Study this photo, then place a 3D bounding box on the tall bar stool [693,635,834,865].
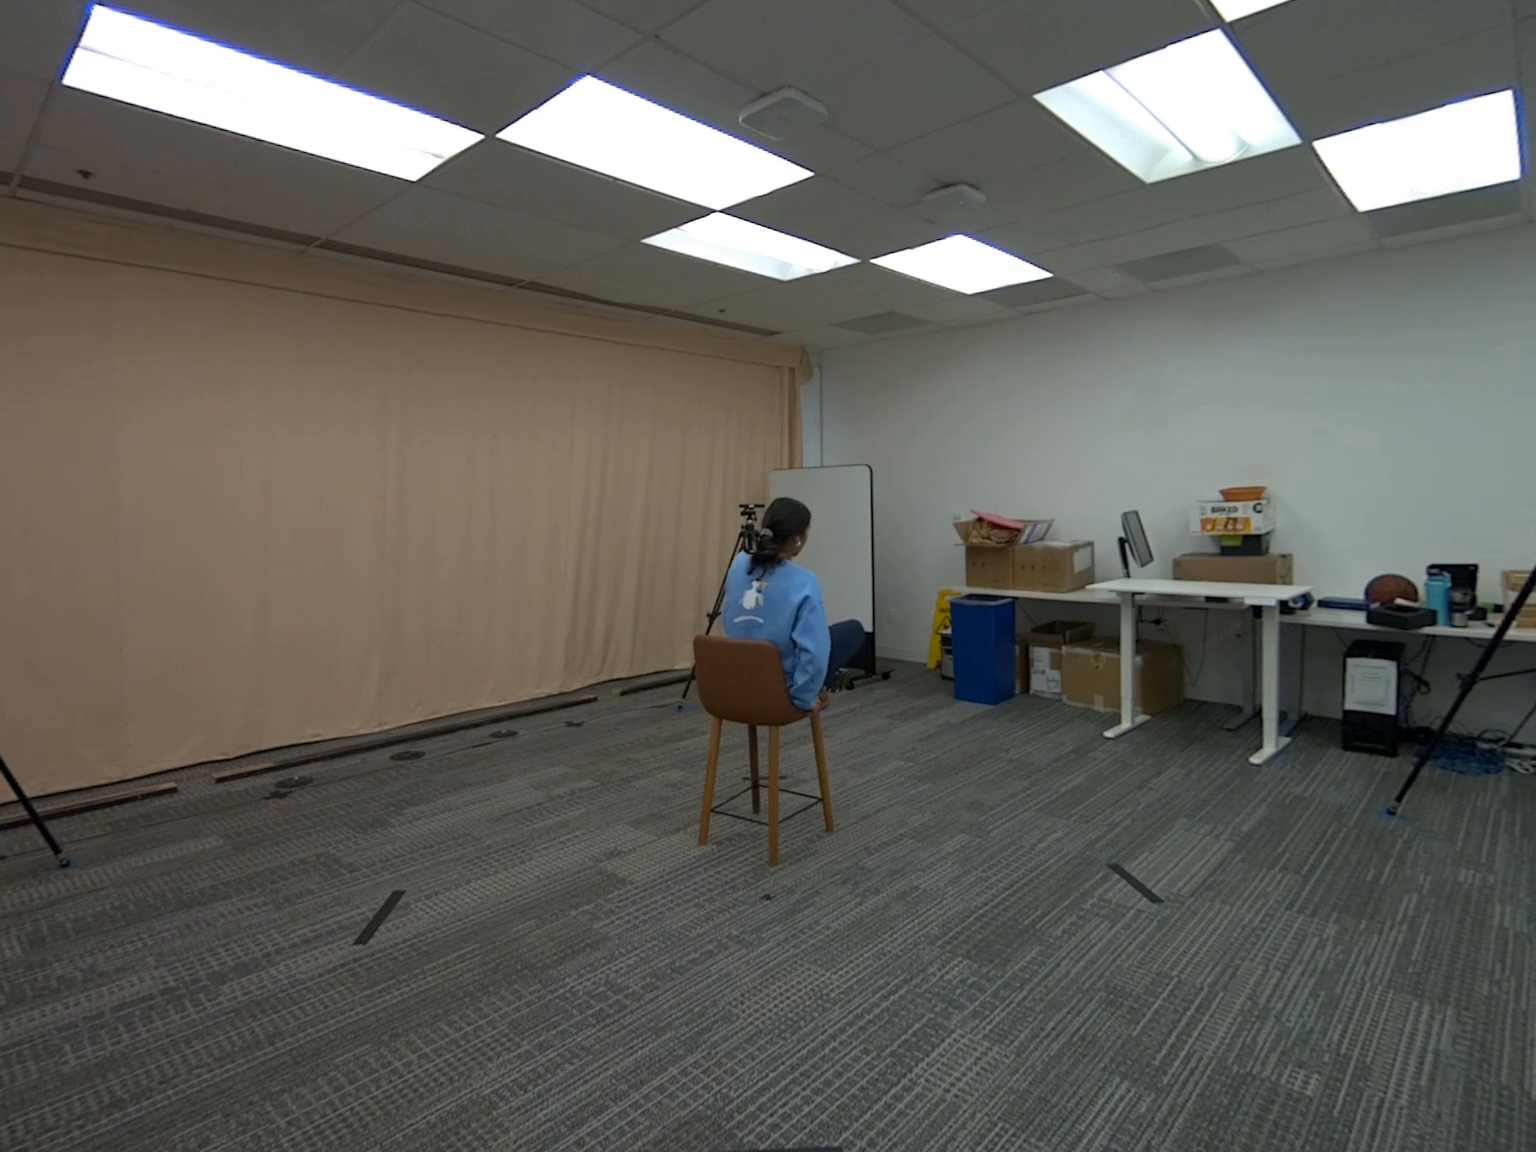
[{"bbox_3d":[-0.020,0.661,3.502,0.471,0.887,0.454,1,5,35],"label":"tall bar stool"}]
